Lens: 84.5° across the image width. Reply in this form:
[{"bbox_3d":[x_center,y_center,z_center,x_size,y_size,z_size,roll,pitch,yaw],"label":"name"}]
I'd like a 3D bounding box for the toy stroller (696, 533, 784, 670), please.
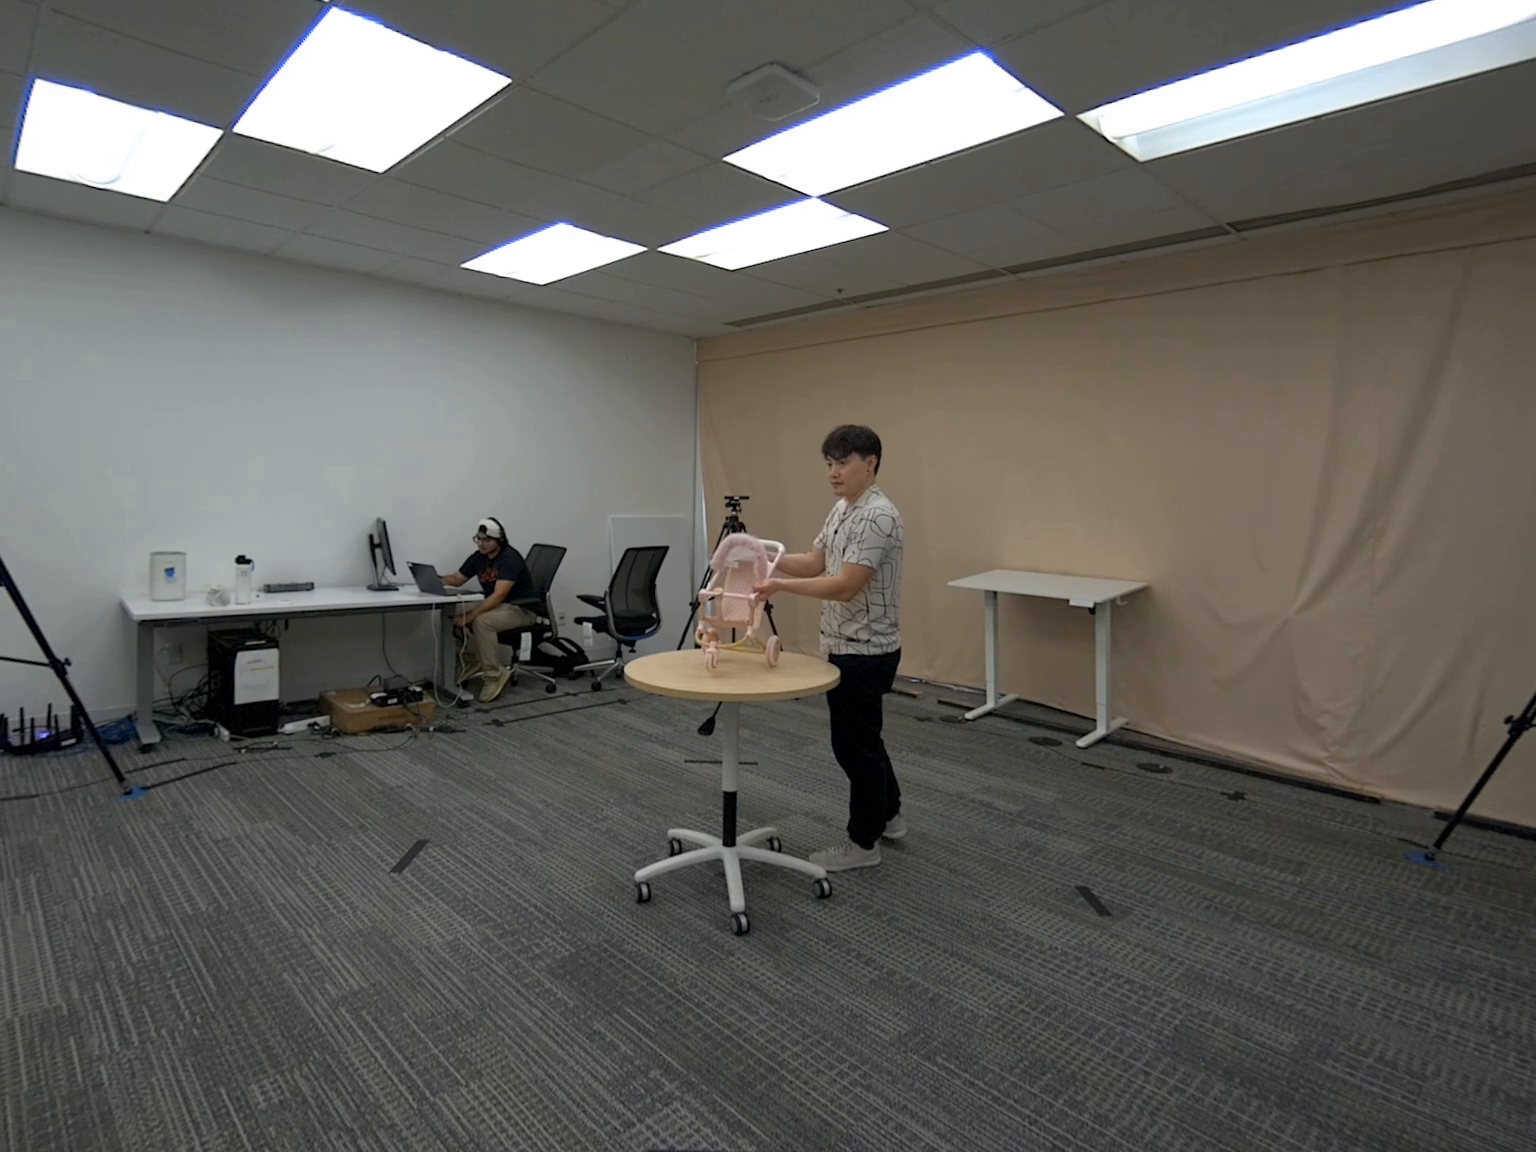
[{"bbox_3d":[-0.118,0.090,3.009,0.287,0.538,0.332,3,-12,26],"label":"toy stroller"}]
